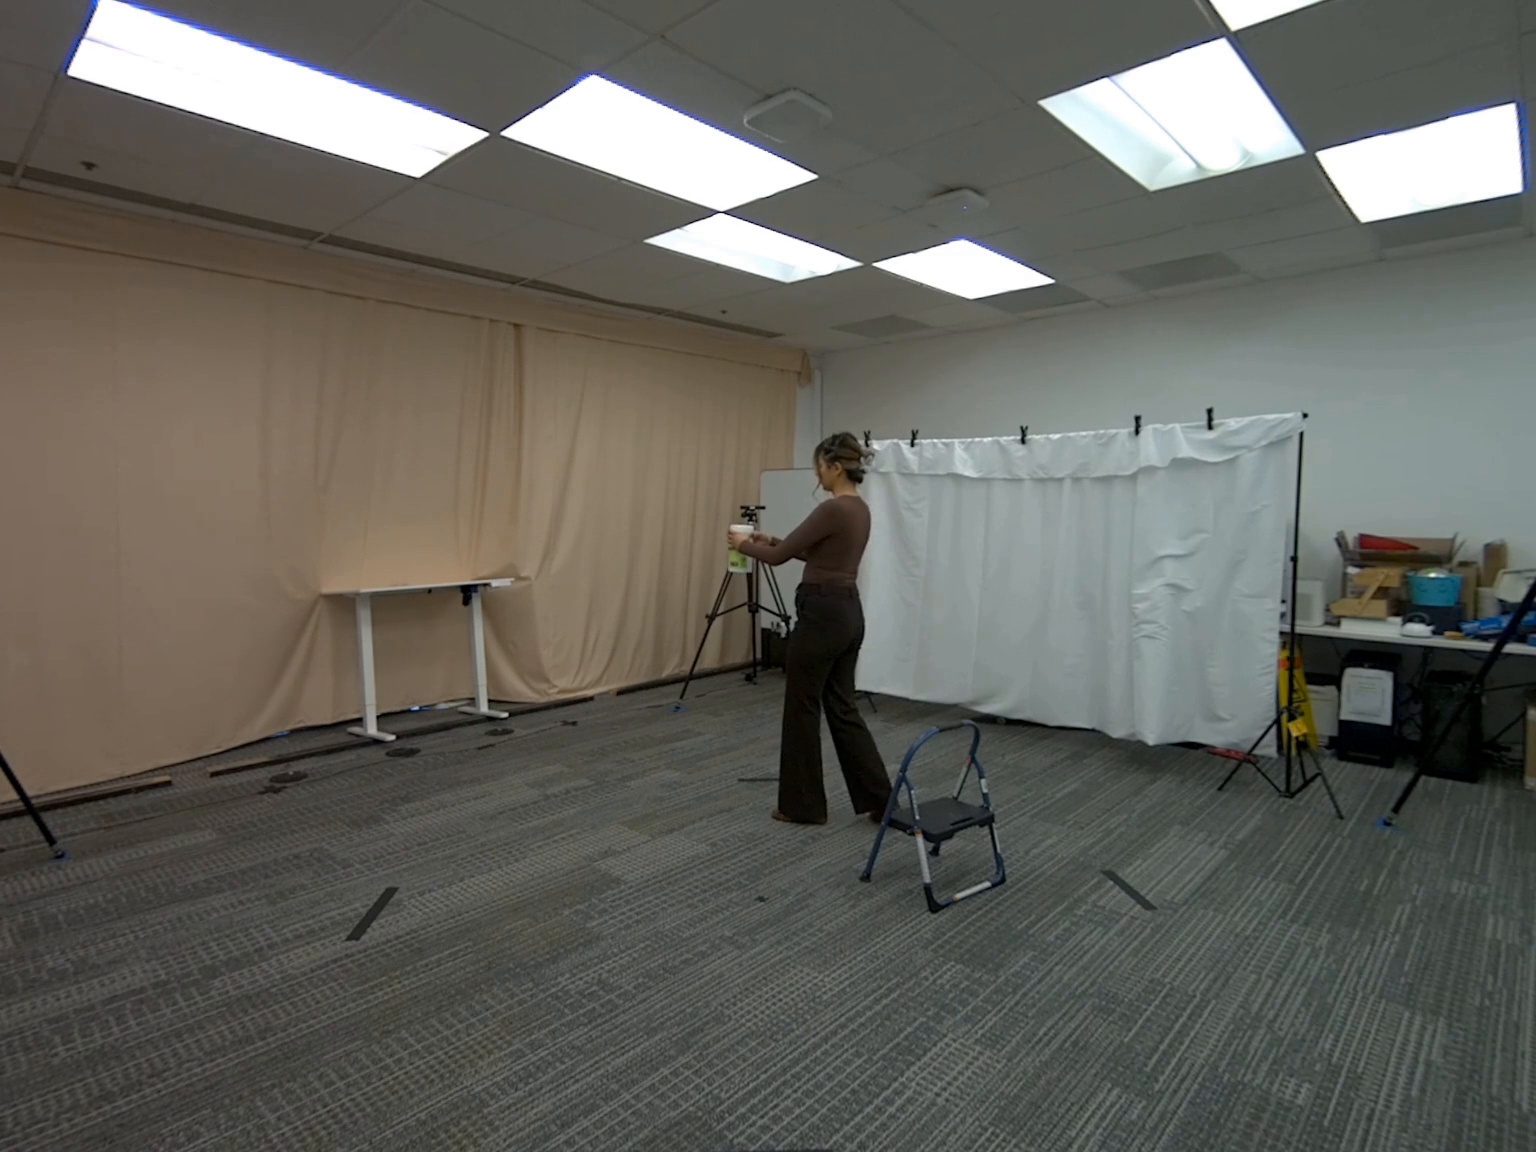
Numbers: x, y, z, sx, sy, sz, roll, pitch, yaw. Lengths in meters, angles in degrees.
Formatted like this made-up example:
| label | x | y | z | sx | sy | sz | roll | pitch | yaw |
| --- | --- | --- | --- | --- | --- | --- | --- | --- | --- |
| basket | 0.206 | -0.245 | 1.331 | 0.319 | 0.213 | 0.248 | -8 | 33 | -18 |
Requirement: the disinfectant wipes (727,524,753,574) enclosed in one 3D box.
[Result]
| label | x | y | z | sx | sy | sz | roll | pitch | yaw |
| --- | --- | --- | --- | --- | --- | --- | --- | --- | --- |
| disinfectant wipes | -0.123 | -0.121 | 3.848 | 0.117 | 0.216 | 0.118 | 2 | 7 | -2 |
